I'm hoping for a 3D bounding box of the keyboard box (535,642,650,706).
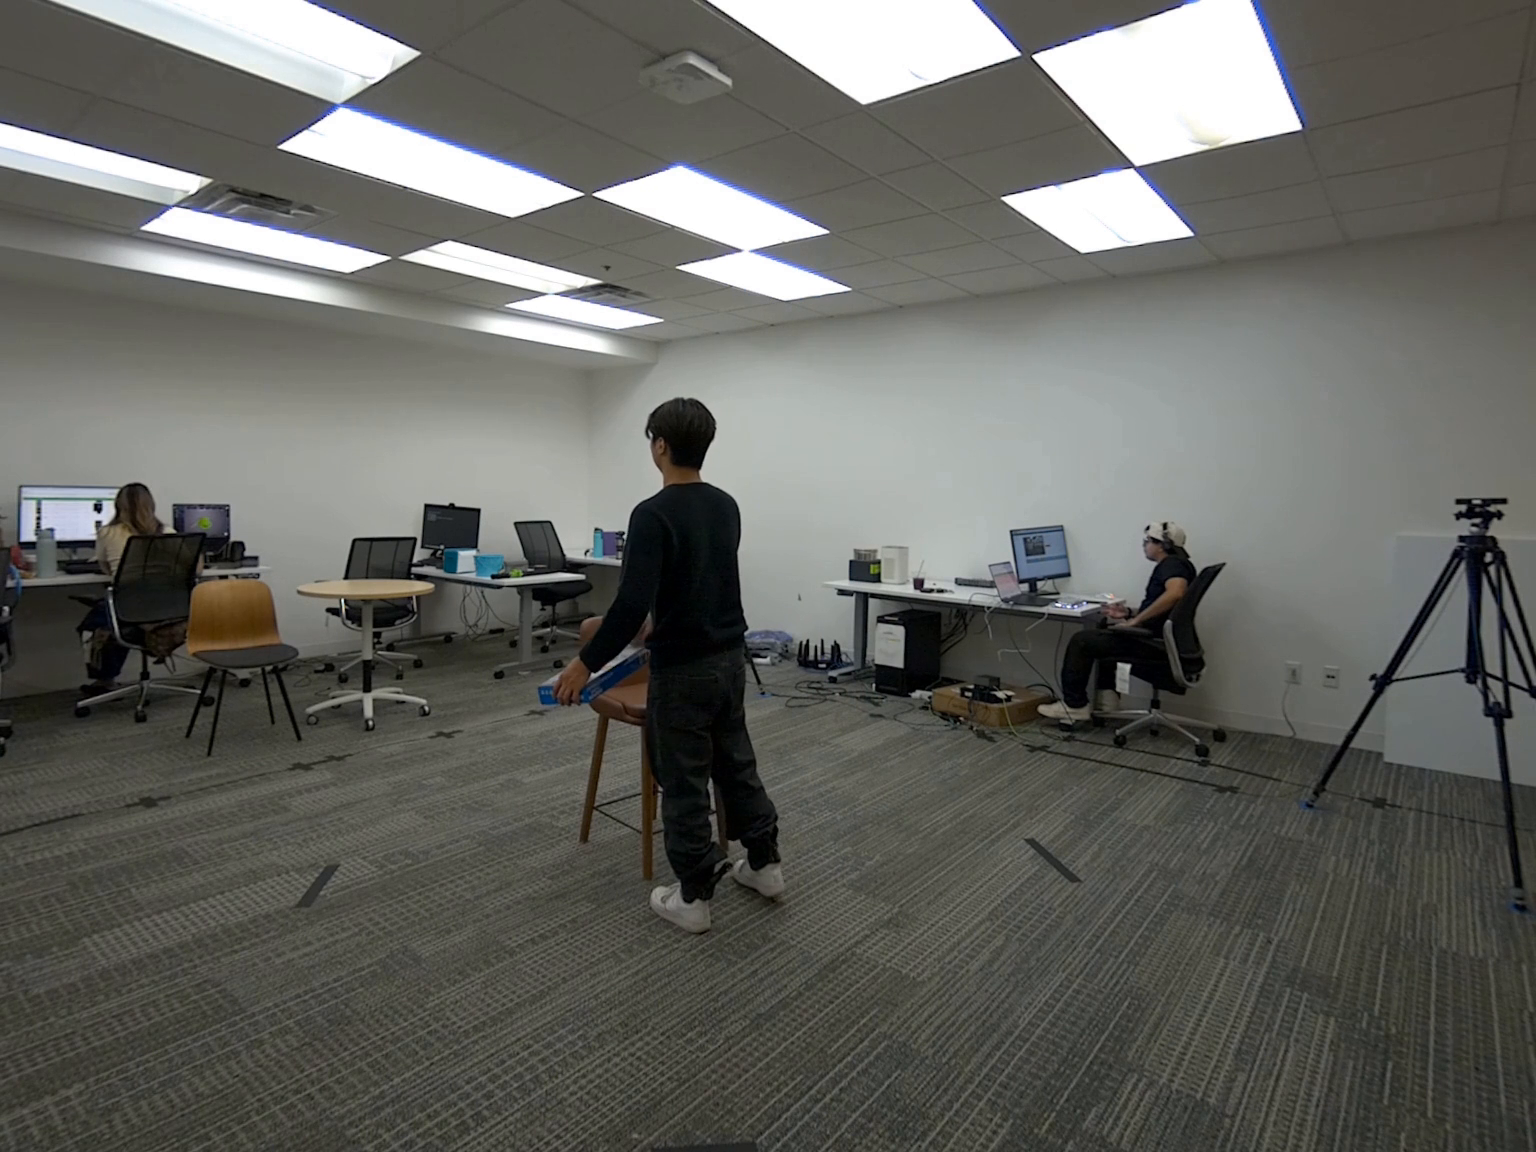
[{"bbox_3d":[-0.552,0.310,2.727,0.179,0.058,0.432,-5,11,21],"label":"keyboard box"}]
